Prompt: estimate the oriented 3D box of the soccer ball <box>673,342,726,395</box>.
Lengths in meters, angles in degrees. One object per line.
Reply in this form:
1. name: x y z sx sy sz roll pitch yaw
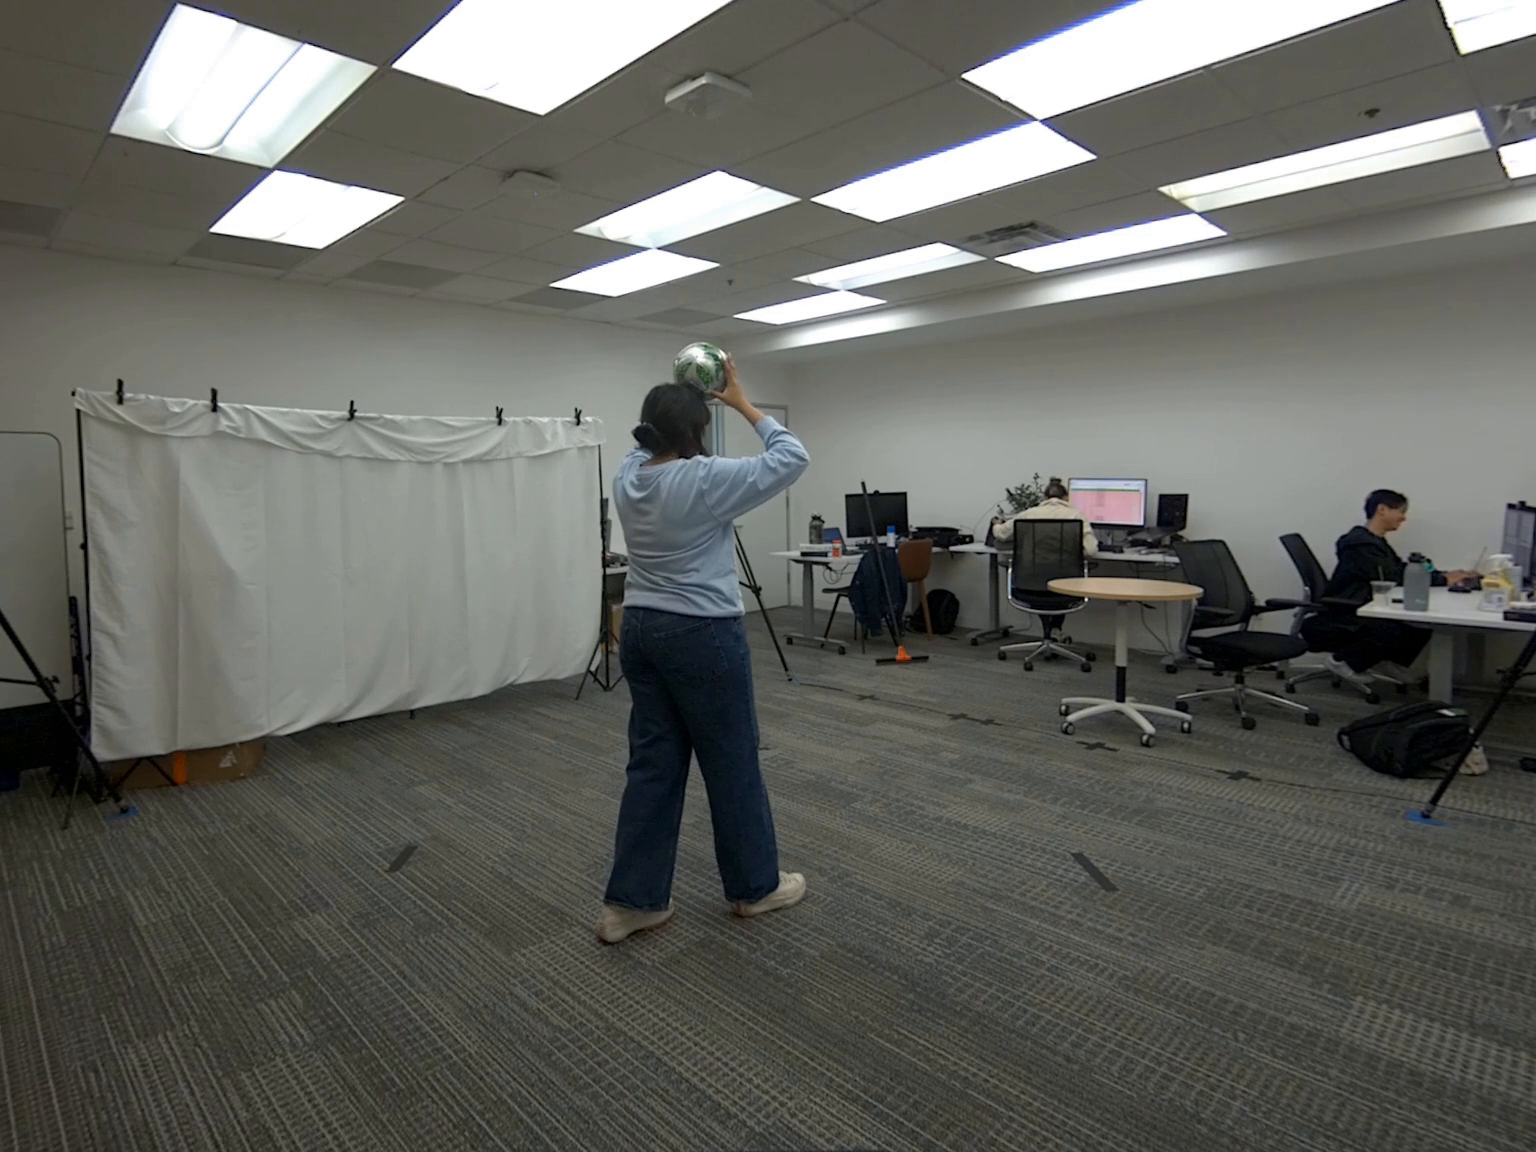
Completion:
1. soccer ball: -0.213 -0.651 2.736 0.187 0.187 0.188 -1 5 -2
